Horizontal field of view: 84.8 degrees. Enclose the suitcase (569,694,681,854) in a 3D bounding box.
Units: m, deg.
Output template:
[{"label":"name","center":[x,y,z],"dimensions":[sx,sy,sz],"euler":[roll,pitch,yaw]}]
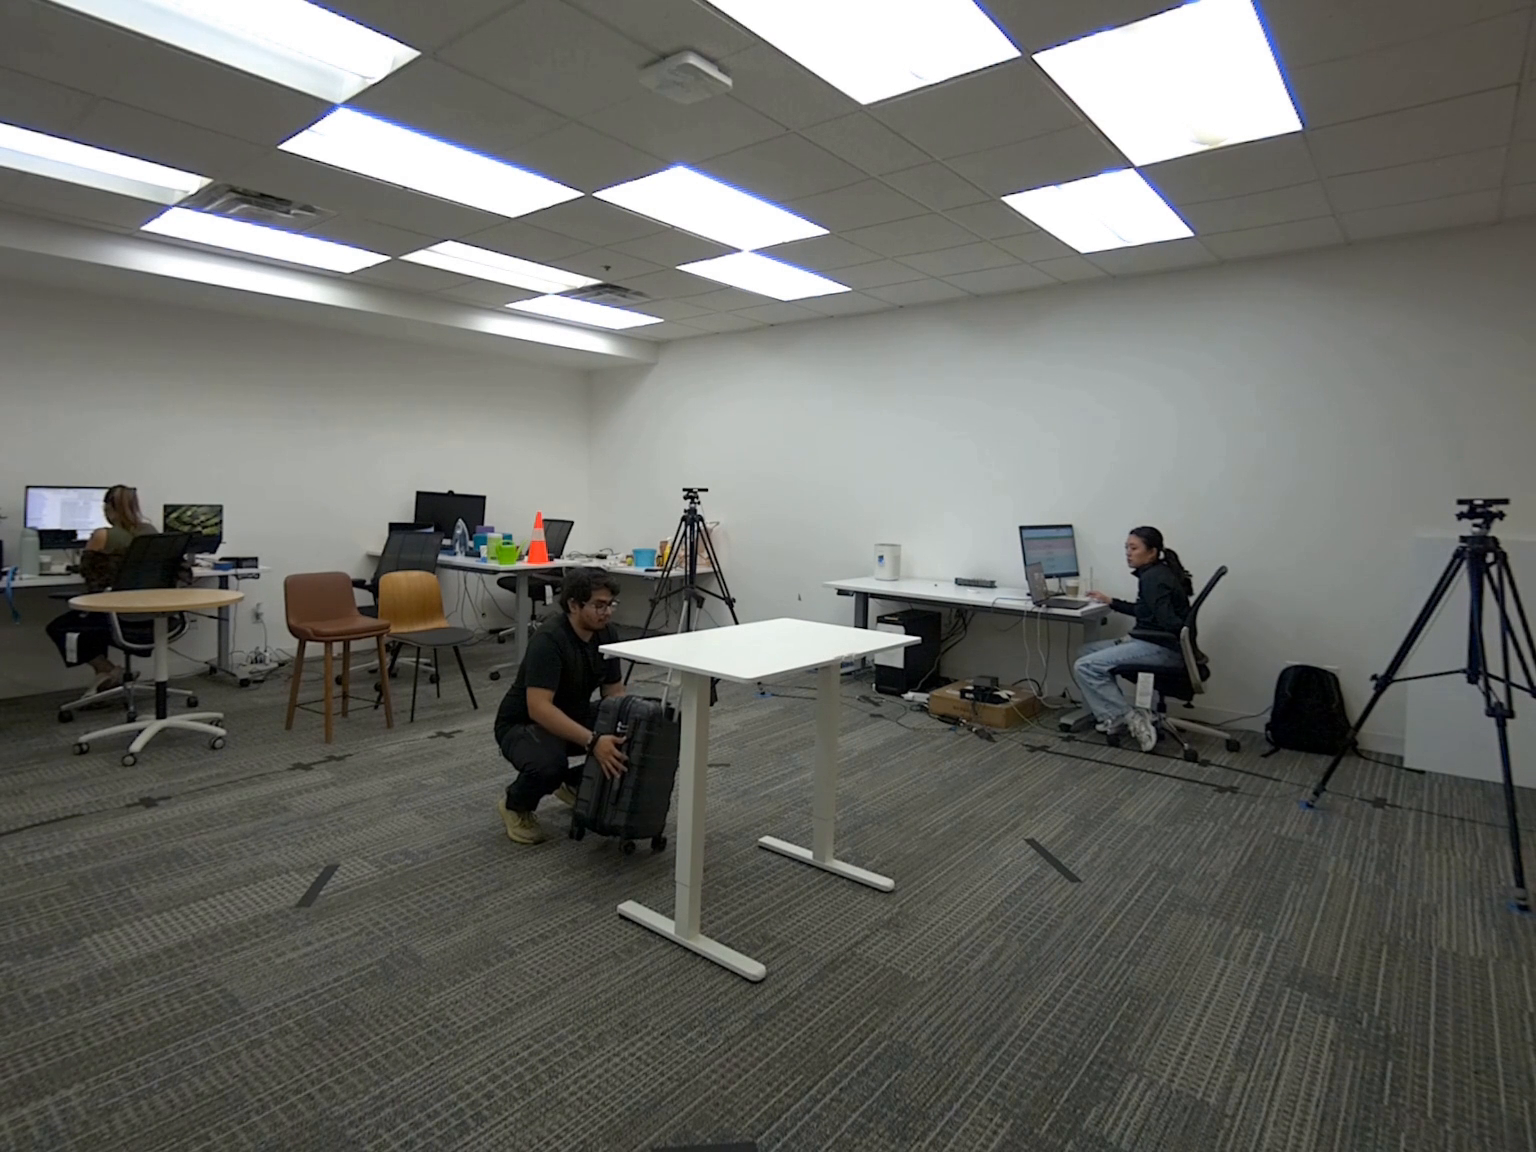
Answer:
[{"label":"suitcase","center":[-0.495,0.536,3.266],"dimensions":[0.263,0.988,0.372],"euler":[4,-13,19]}]
